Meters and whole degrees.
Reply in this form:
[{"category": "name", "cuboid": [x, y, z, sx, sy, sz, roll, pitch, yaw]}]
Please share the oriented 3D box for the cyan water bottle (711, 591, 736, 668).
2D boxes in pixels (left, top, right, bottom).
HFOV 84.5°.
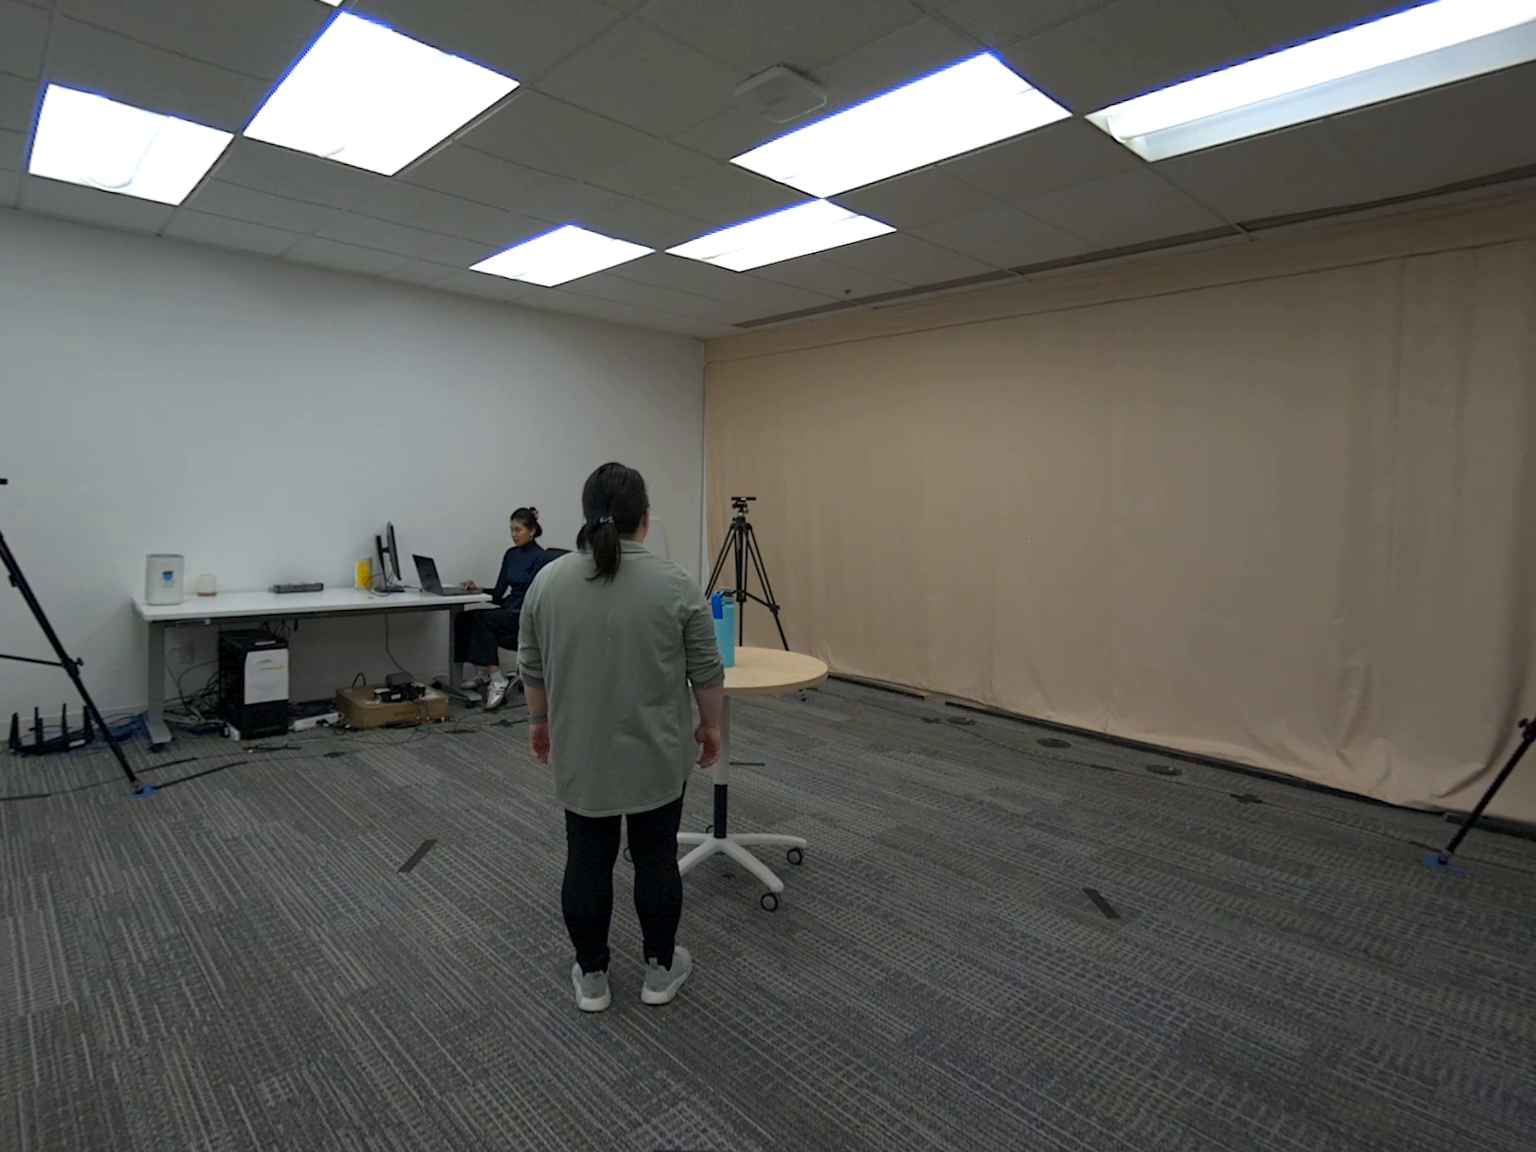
[{"category": "cyan water bottle", "cuboid": [-0.172, 0.189, 3.054, 0.092, 0.282, 0.093, -1, 6, -1]}]
